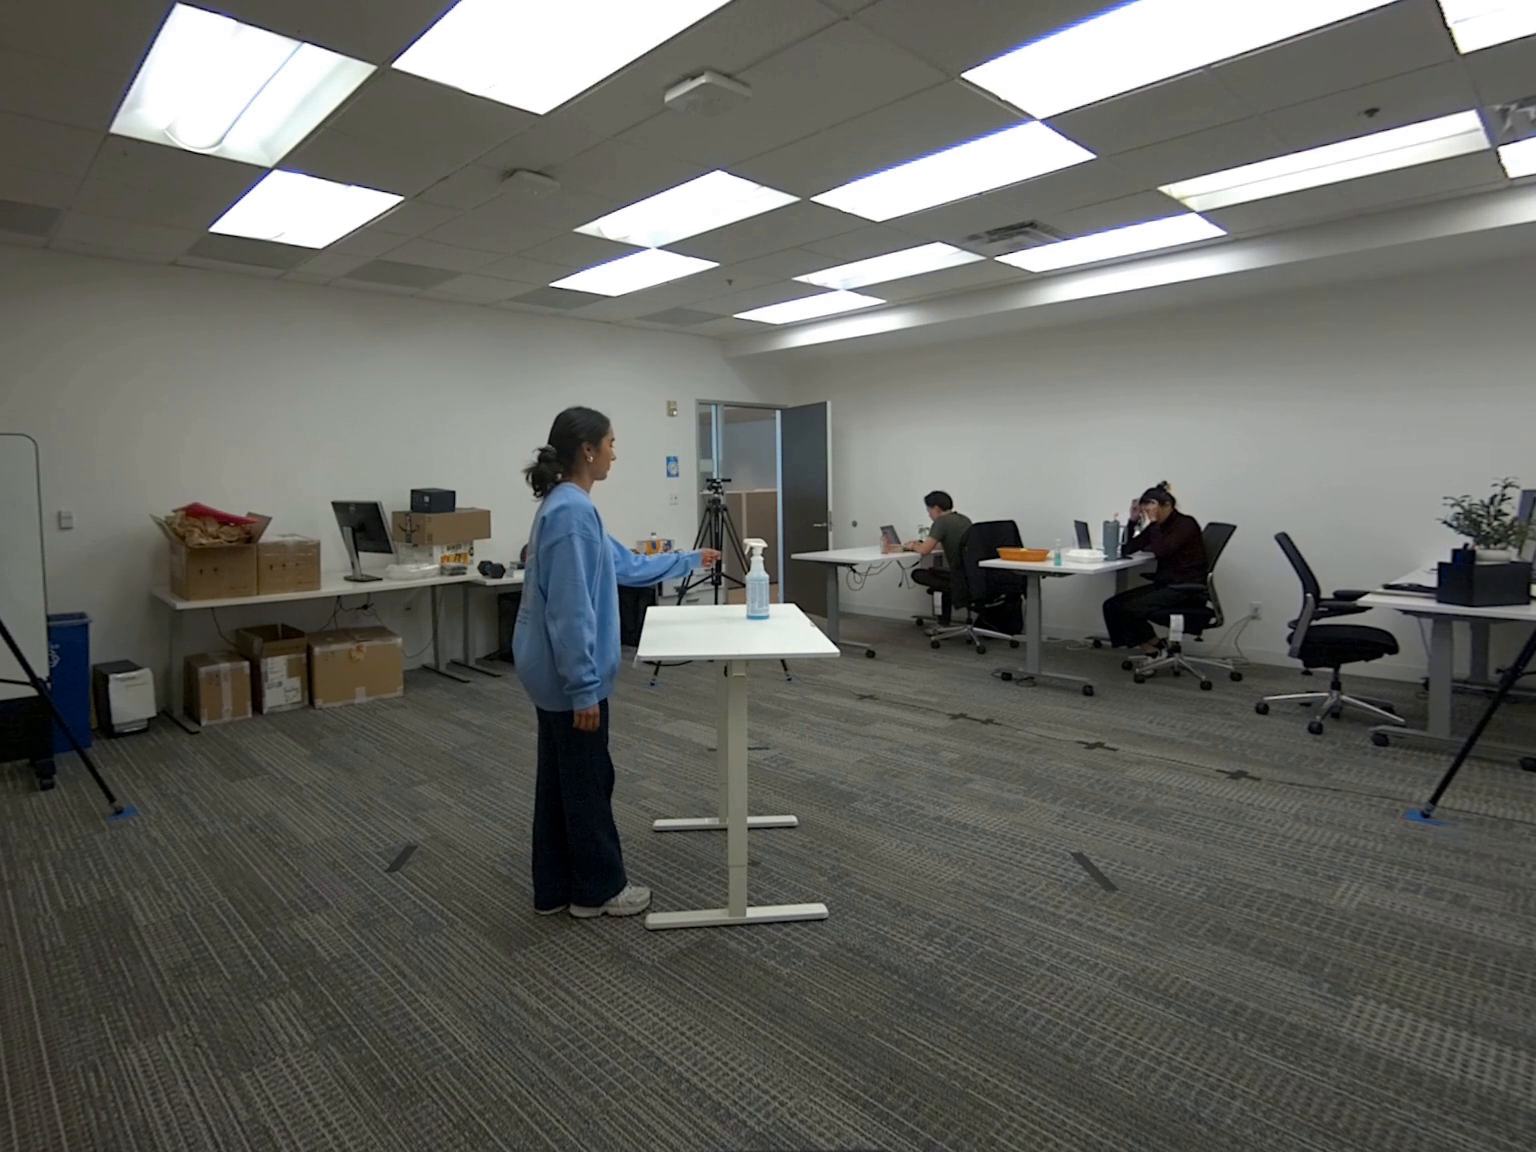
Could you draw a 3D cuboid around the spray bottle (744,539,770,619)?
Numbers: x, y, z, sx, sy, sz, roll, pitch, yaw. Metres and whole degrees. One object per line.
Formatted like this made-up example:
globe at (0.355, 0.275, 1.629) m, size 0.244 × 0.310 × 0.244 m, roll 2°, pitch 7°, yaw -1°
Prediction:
spray bottle at (-0.038, 0.012, 3.165) m, size 0.090 × 0.296 × 0.087 m, roll 0°, pitch 4°, yaw 2°
